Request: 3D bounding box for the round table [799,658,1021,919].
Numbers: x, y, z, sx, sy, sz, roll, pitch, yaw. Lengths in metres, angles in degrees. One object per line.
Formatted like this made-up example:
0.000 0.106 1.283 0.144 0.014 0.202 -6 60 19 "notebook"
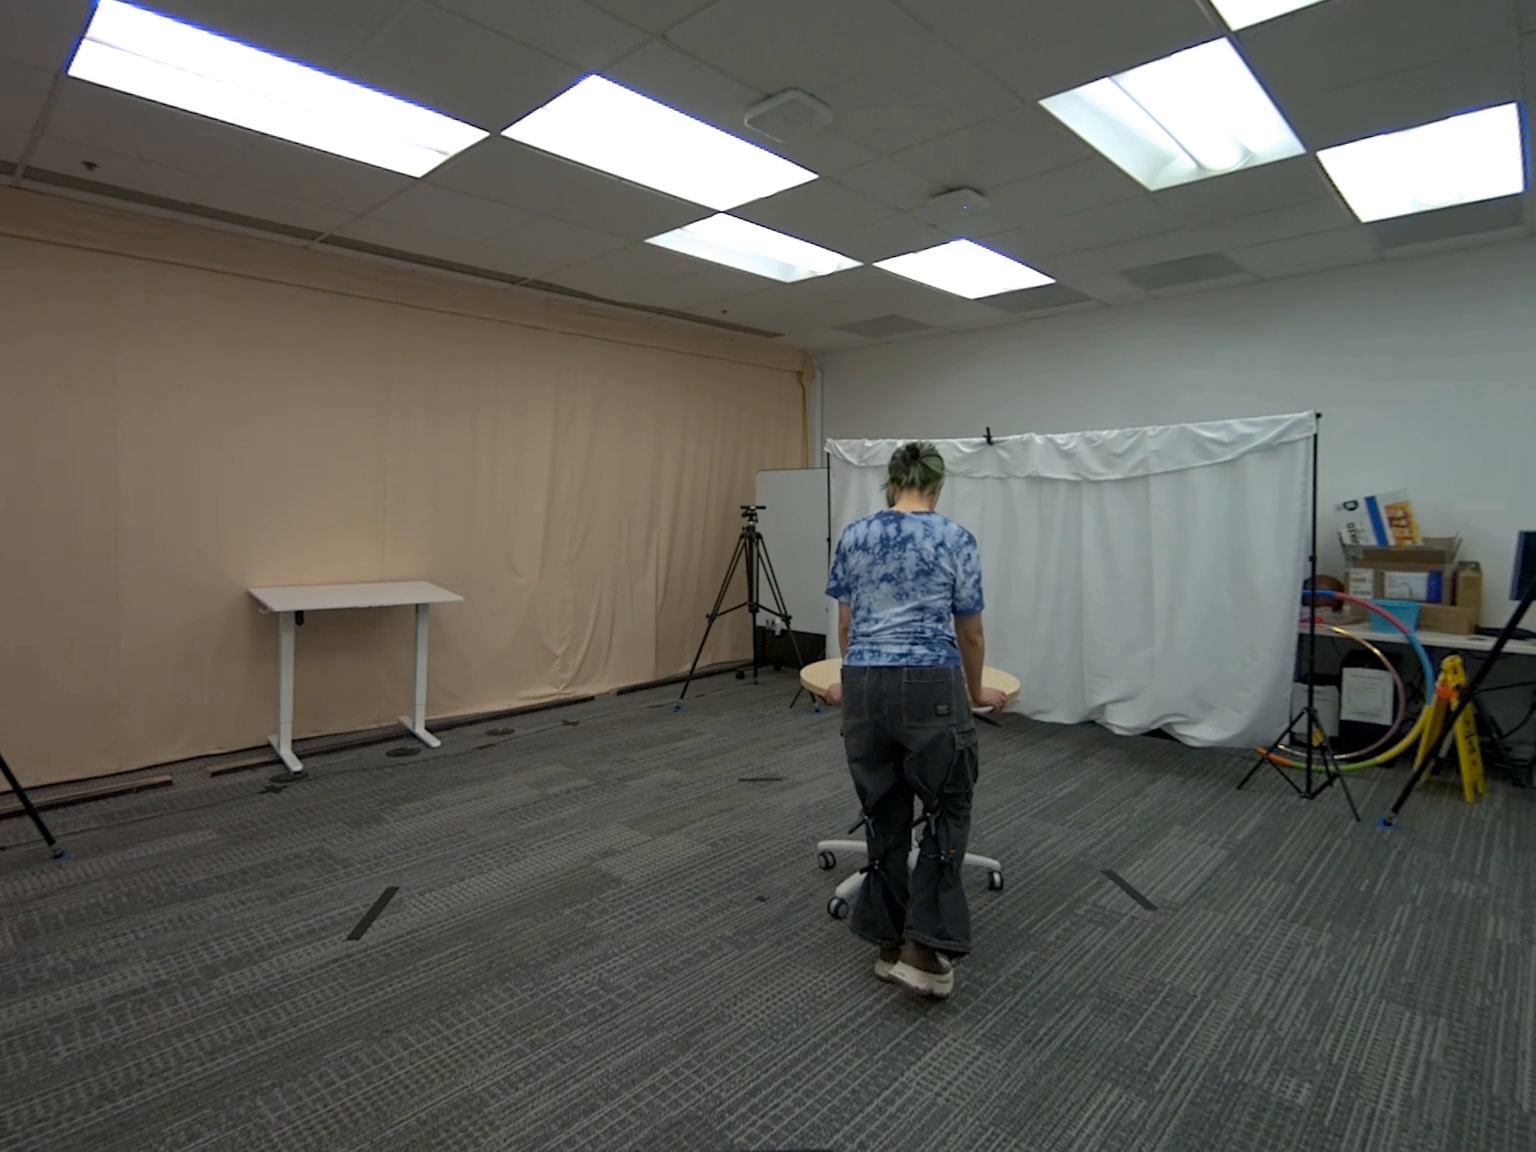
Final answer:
0.508 0.749 3.047 0.763 0.792 0.767 0 4 -2 "round table"
